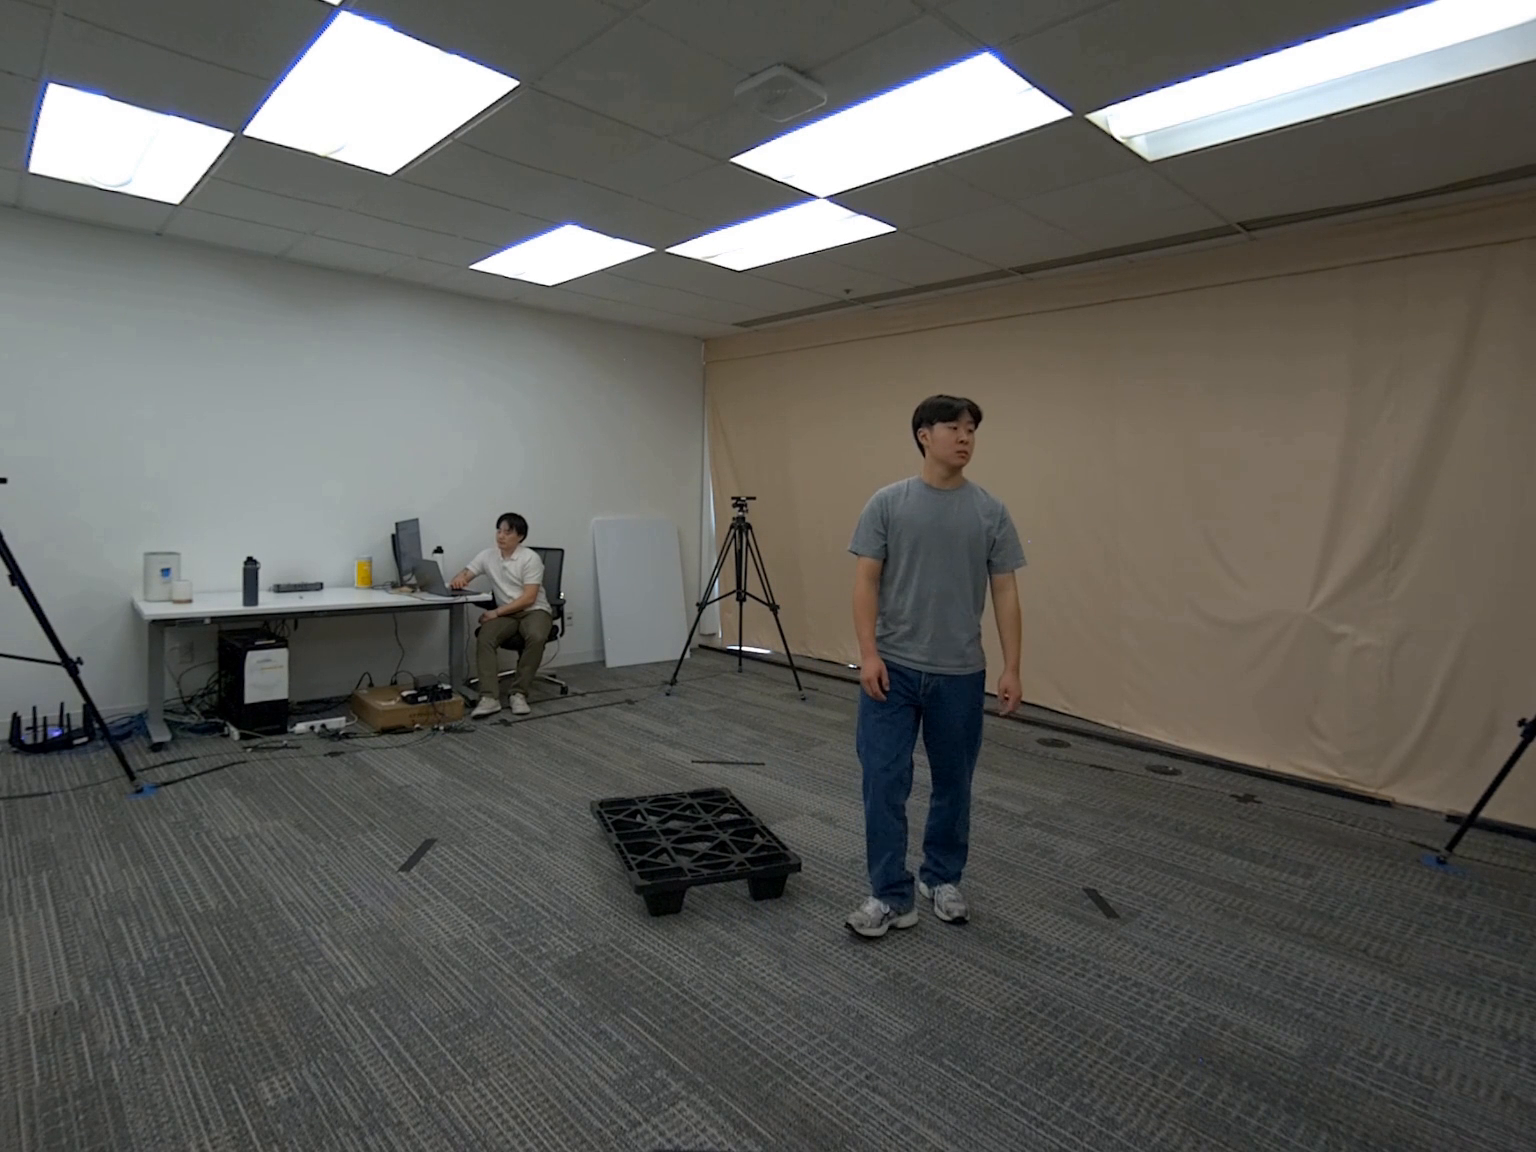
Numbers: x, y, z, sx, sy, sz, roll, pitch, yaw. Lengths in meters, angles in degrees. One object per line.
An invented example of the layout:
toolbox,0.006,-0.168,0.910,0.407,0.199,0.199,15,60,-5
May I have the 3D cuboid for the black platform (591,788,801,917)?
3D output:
black platform,-0.313,1.025,3.206,0.595,0.143,0.821,0,6,-22
